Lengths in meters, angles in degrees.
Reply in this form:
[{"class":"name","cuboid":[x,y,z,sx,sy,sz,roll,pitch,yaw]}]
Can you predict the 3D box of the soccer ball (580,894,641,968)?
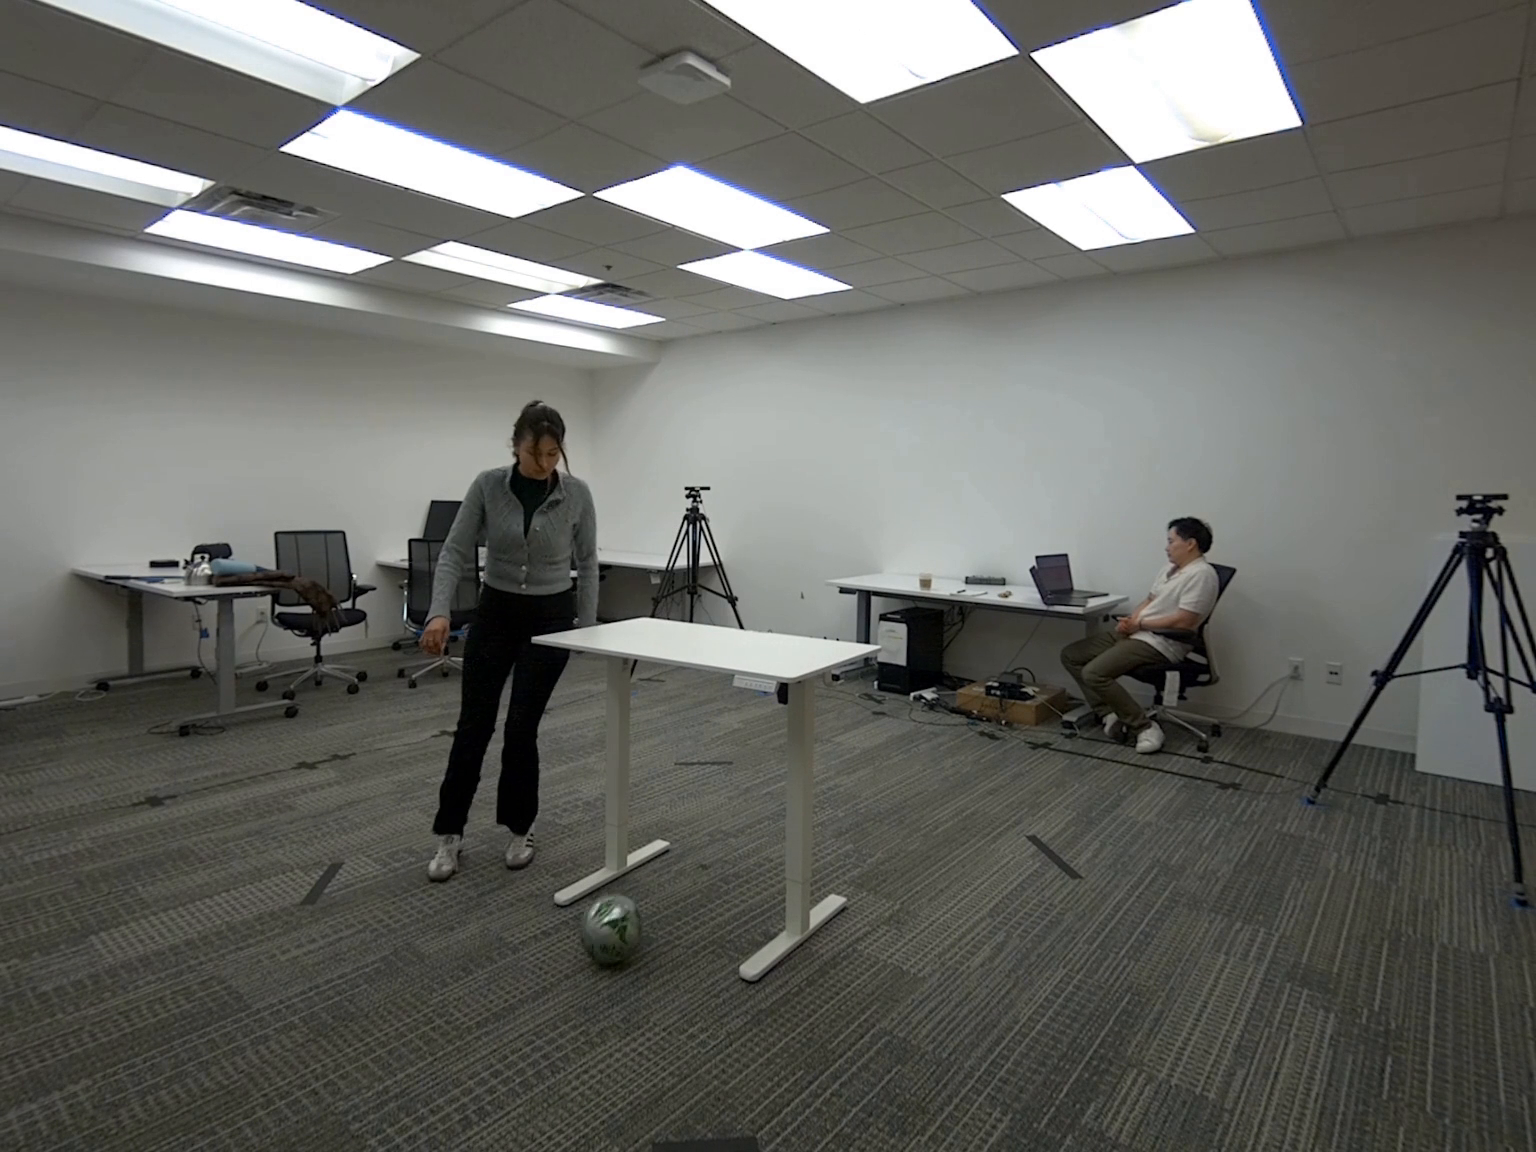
[{"class":"soccer ball","cuboid":[-0.462,1.031,2.489,0.187,0.187,0.188,0,4,-2]}]
